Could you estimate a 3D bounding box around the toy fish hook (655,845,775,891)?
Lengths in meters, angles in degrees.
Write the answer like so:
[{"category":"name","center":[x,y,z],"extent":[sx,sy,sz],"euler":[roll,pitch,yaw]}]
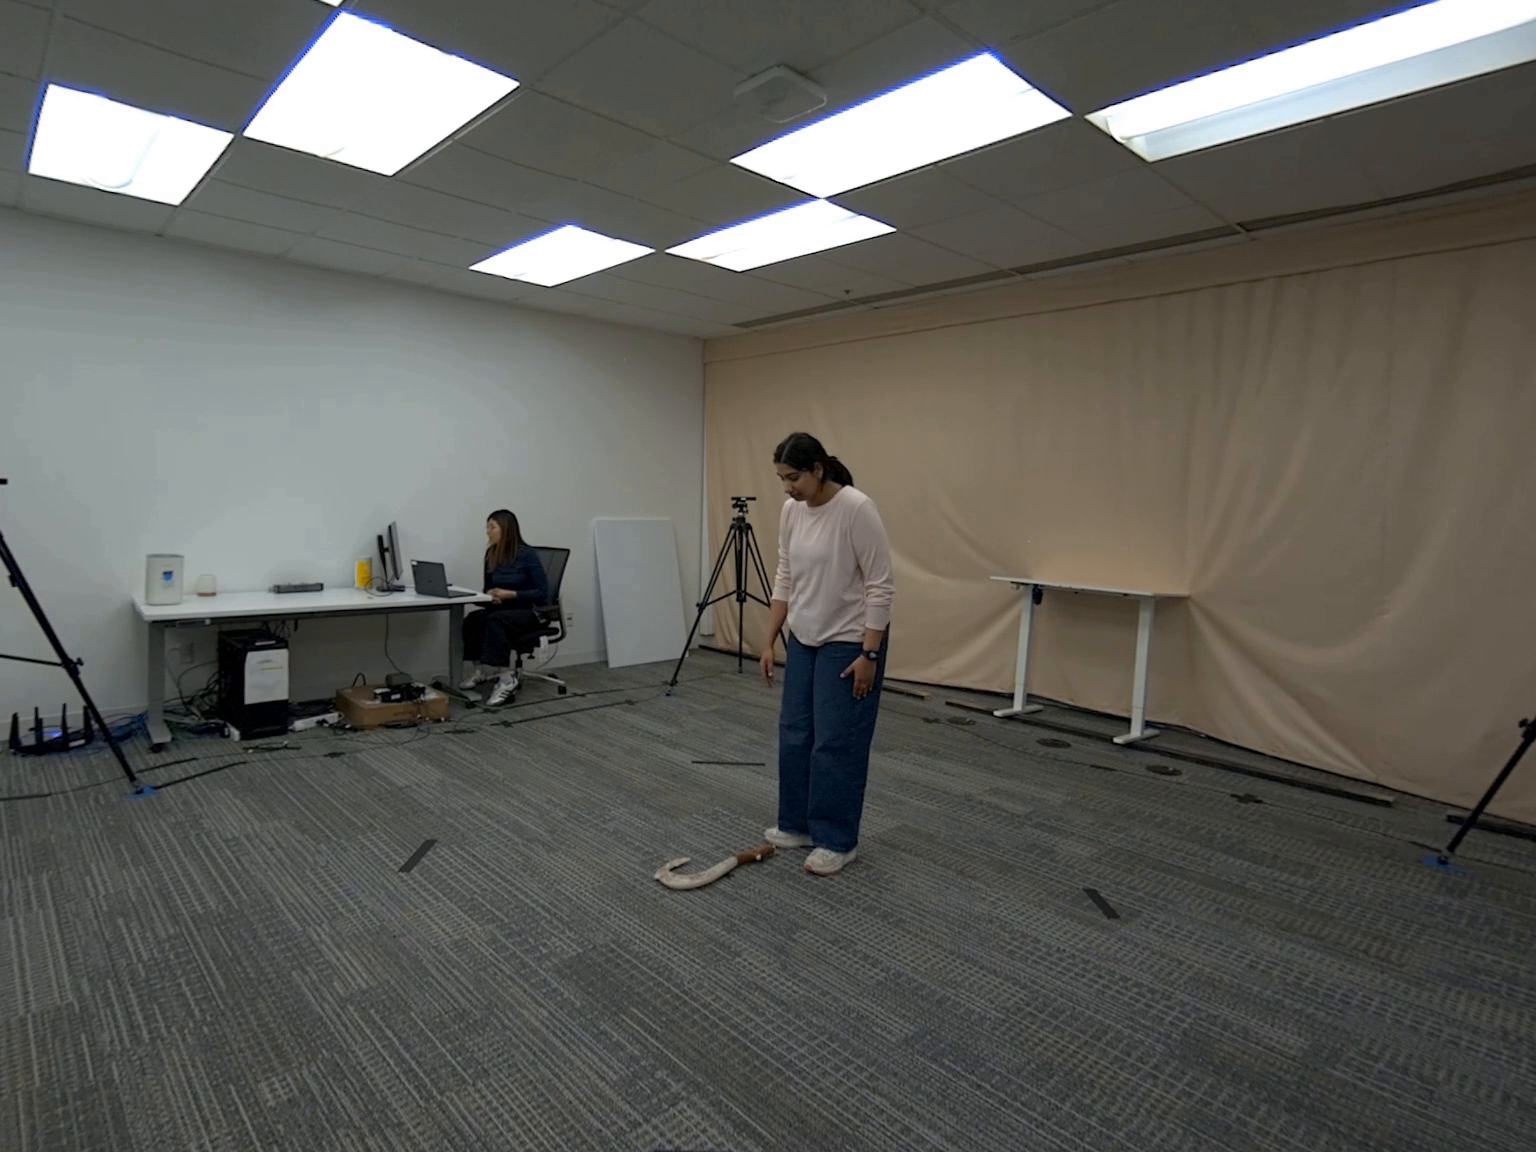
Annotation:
[{"category":"toy fish hook","center":[-0.204,1.077,3.174],"extent":[0.495,0.048,0.230],"euler":[-3,8,-41]}]
